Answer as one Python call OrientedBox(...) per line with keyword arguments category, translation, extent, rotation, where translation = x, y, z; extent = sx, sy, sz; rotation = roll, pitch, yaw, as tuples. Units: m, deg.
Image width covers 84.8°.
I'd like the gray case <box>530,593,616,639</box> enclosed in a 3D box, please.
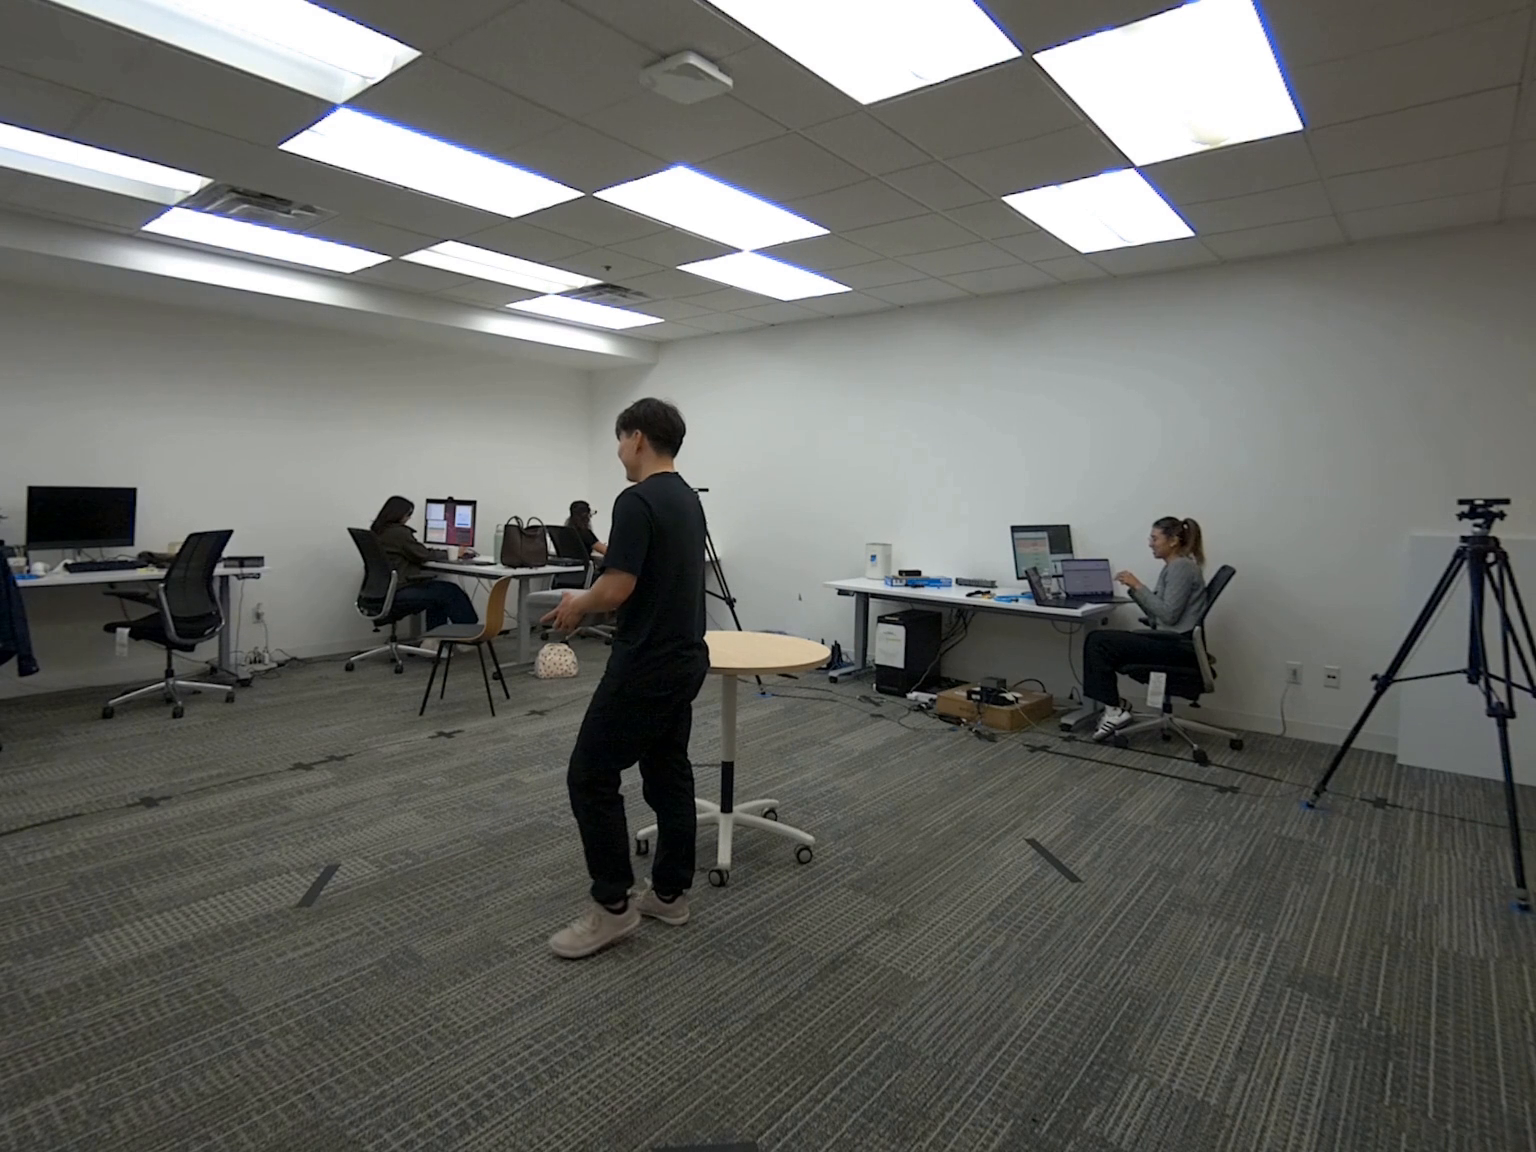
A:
OrientedBox(category="gray case", translation=(-0.644, 0.122, 2.764), extent=(0.257, 0.104, 0.261), rotation=(-4, 5, -12))
